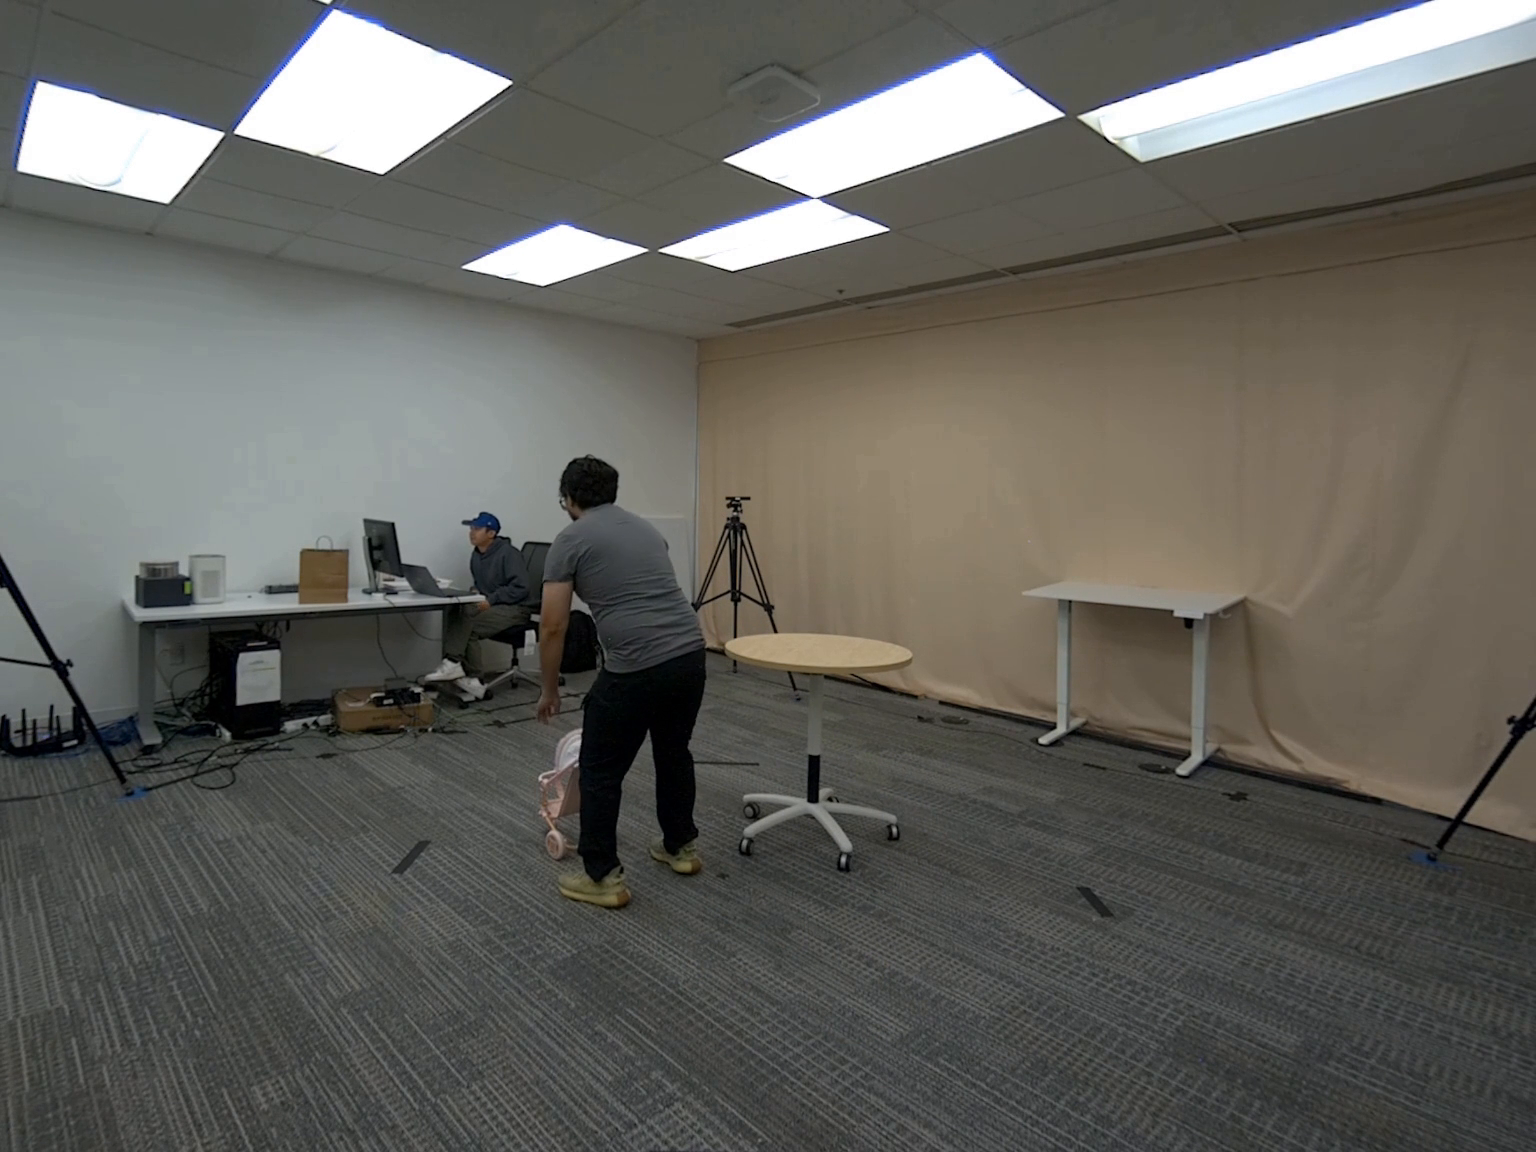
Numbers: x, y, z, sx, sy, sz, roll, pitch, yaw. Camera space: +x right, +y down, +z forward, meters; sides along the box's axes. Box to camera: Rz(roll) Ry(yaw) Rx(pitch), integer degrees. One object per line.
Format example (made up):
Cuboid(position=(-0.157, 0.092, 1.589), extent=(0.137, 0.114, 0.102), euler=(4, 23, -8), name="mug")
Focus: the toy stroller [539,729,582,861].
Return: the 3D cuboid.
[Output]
Cuboid(position=(-0.769, 0.845, 3.337), extent=(0.275, 0.530, 0.352), euler=(-1, 19, -39), name="toy stroller")
